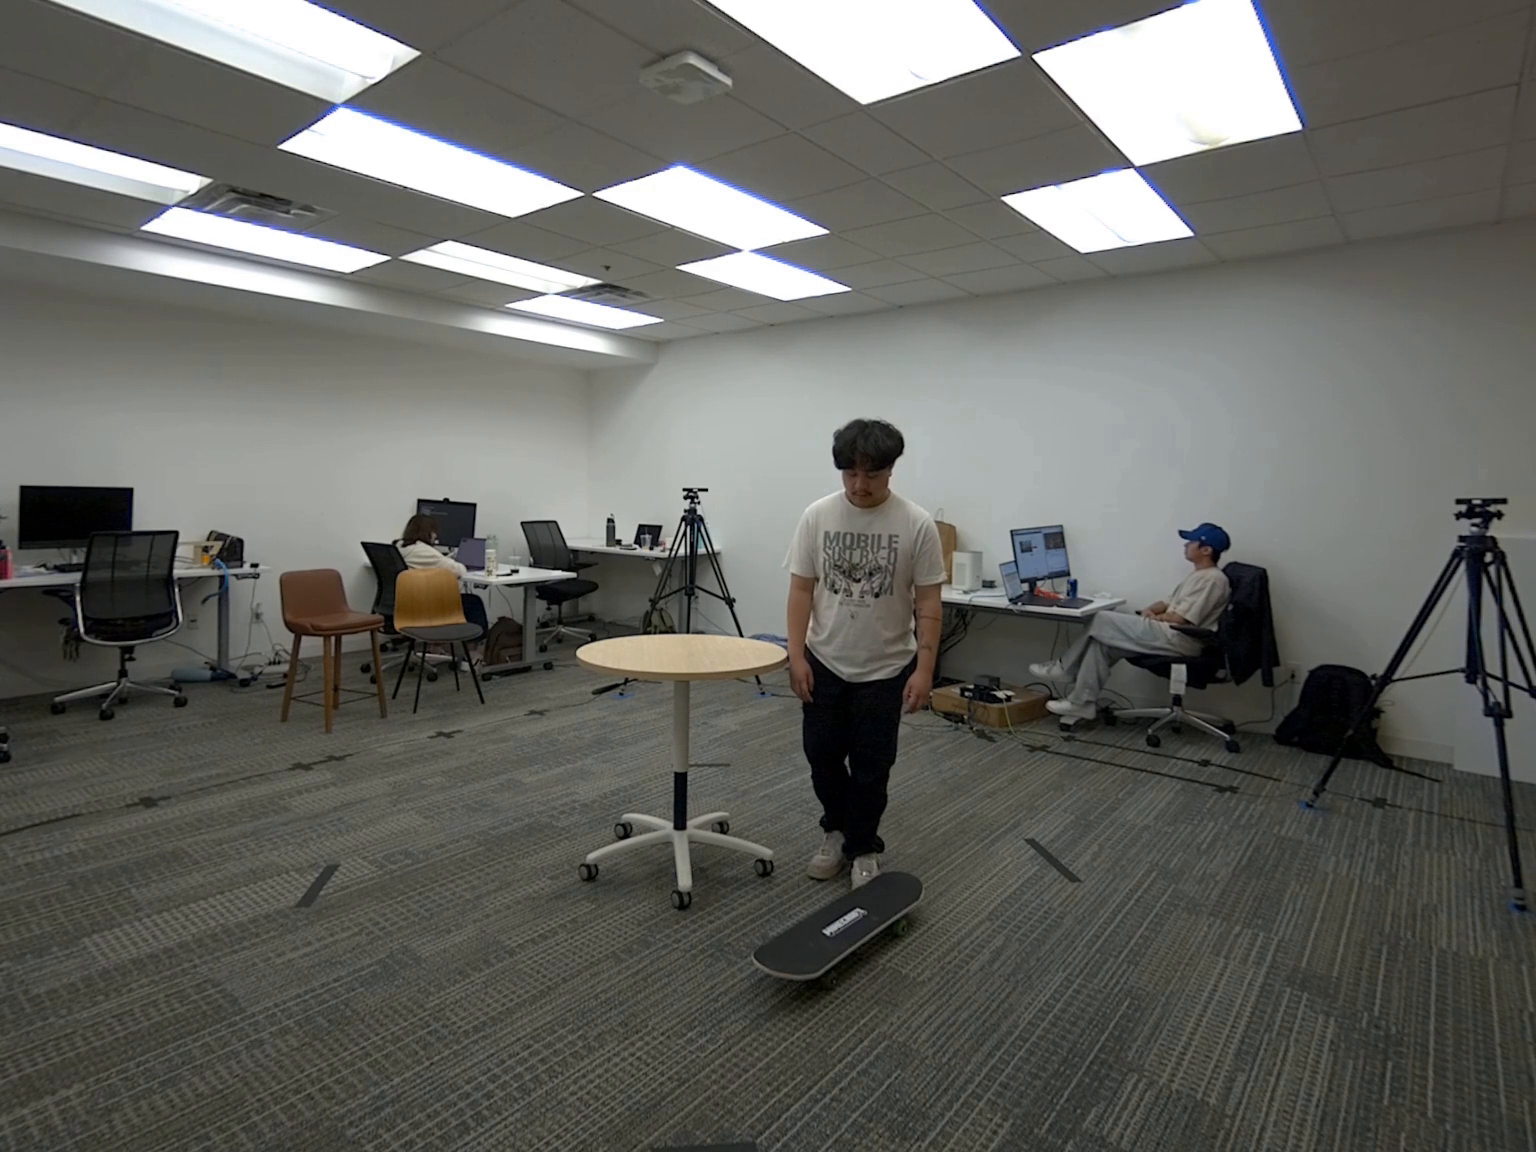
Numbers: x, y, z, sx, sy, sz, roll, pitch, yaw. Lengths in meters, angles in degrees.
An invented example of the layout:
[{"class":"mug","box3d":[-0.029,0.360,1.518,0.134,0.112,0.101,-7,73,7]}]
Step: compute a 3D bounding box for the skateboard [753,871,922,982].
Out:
[{"class":"skateboard","box3d":[0.236,1.082,2.574,0.200,0.110,0.762,6,7,39]}]
